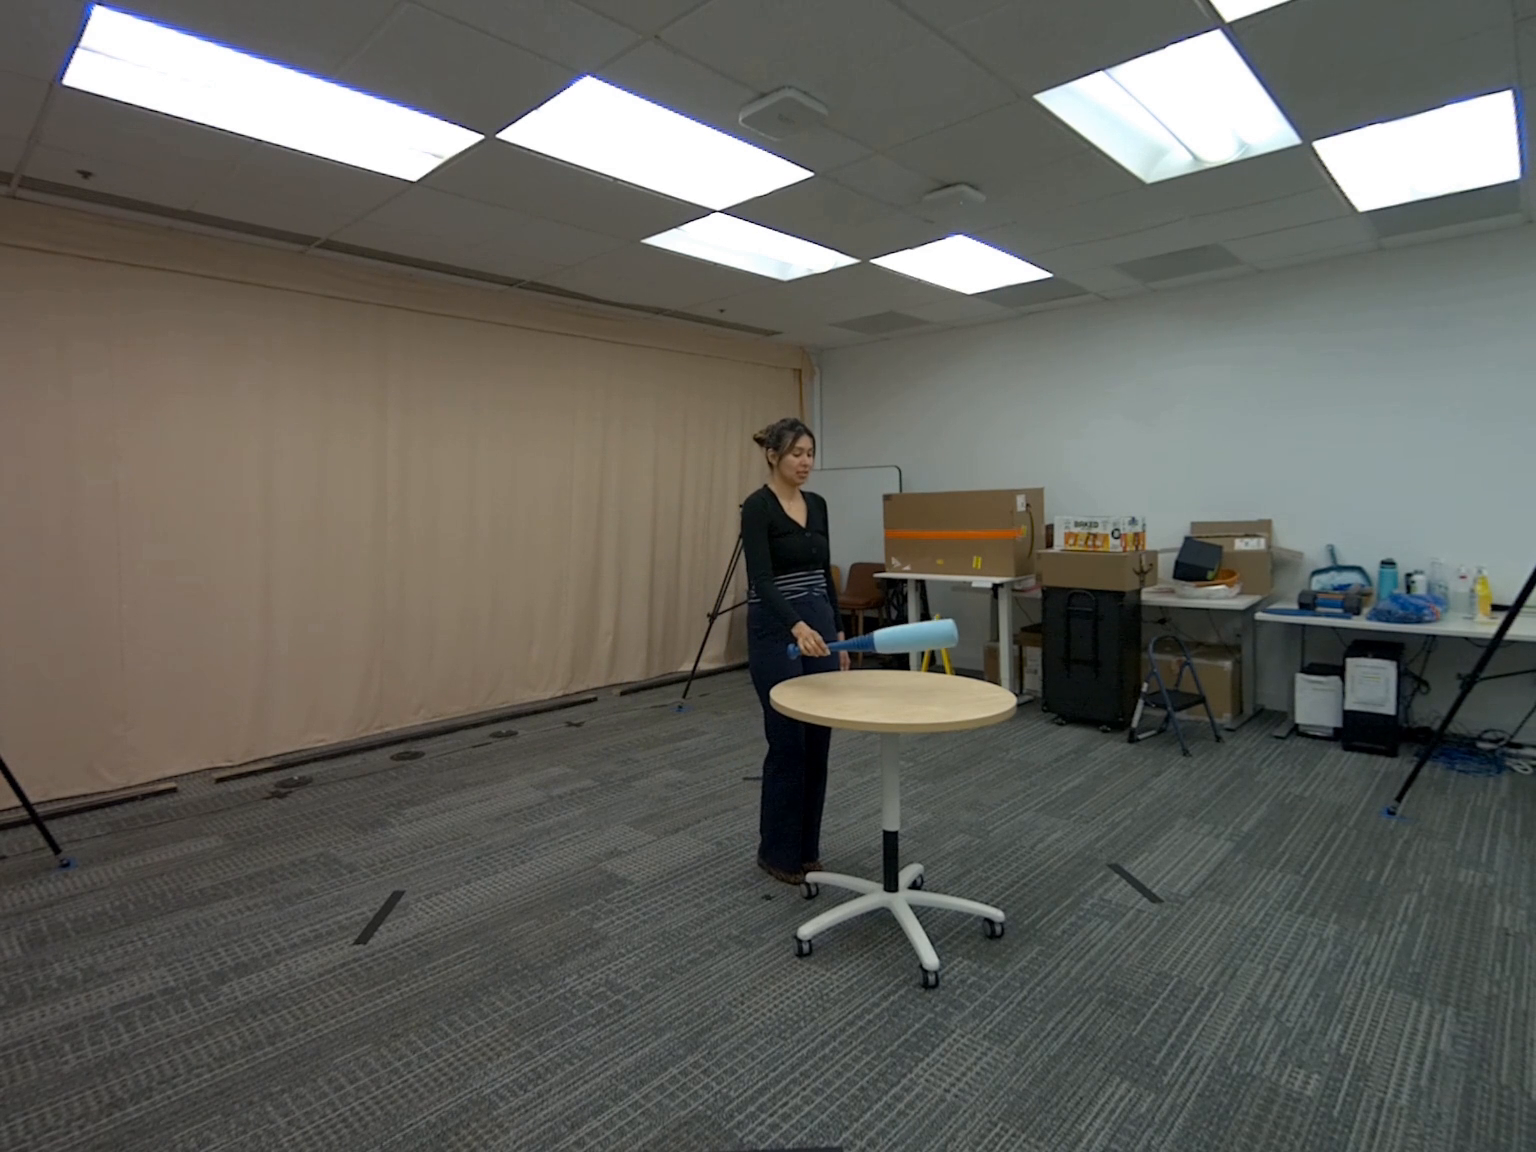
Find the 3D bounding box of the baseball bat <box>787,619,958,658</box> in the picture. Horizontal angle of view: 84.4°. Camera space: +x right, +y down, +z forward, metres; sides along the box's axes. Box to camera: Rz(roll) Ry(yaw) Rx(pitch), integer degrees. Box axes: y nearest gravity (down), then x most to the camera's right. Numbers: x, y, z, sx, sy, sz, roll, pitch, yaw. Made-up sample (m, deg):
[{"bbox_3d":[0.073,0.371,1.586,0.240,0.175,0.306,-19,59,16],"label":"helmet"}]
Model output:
[{"bbox_3d":[0.323,0.208,2.680,0.553,0.089,0.087,-8,1,21],"label":"baseball bat"}]
